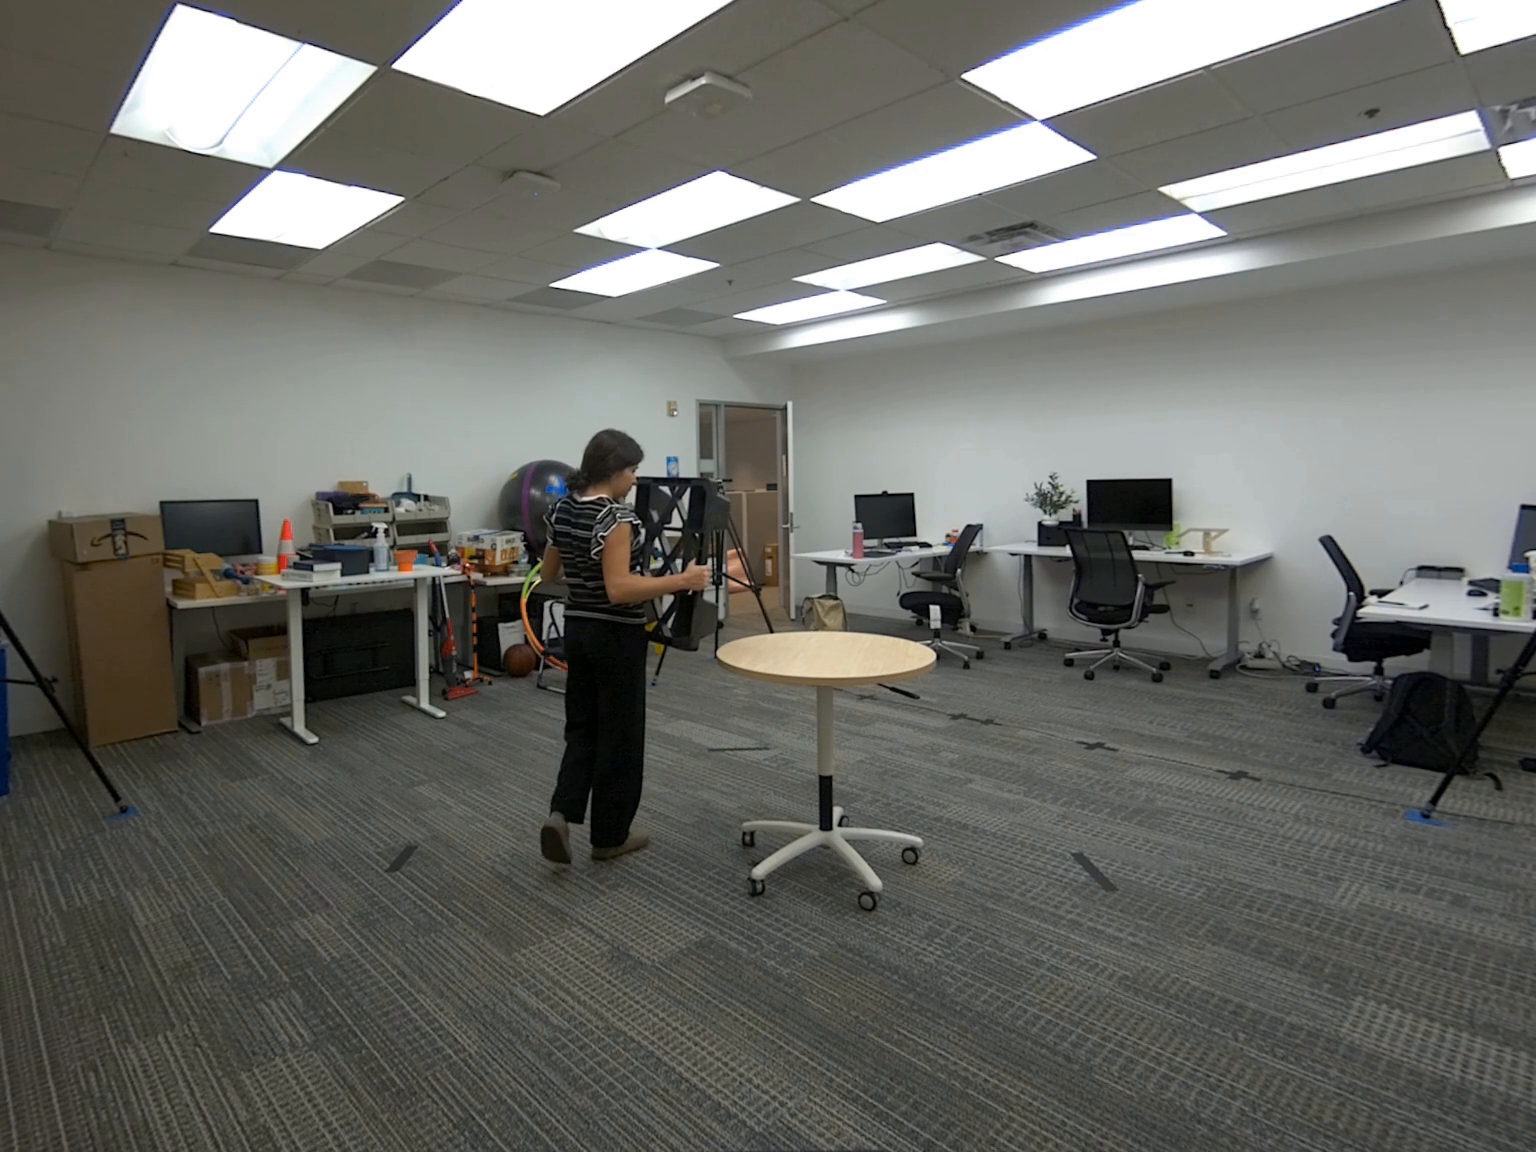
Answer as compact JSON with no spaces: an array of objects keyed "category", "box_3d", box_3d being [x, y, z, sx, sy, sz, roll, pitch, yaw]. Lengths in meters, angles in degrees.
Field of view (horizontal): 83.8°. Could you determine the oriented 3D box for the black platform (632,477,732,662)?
[{"category":"black platform","box_3d":[-0.445,-0.078,3.249,0.139,0.605,0.831,8,0,-40]}]
